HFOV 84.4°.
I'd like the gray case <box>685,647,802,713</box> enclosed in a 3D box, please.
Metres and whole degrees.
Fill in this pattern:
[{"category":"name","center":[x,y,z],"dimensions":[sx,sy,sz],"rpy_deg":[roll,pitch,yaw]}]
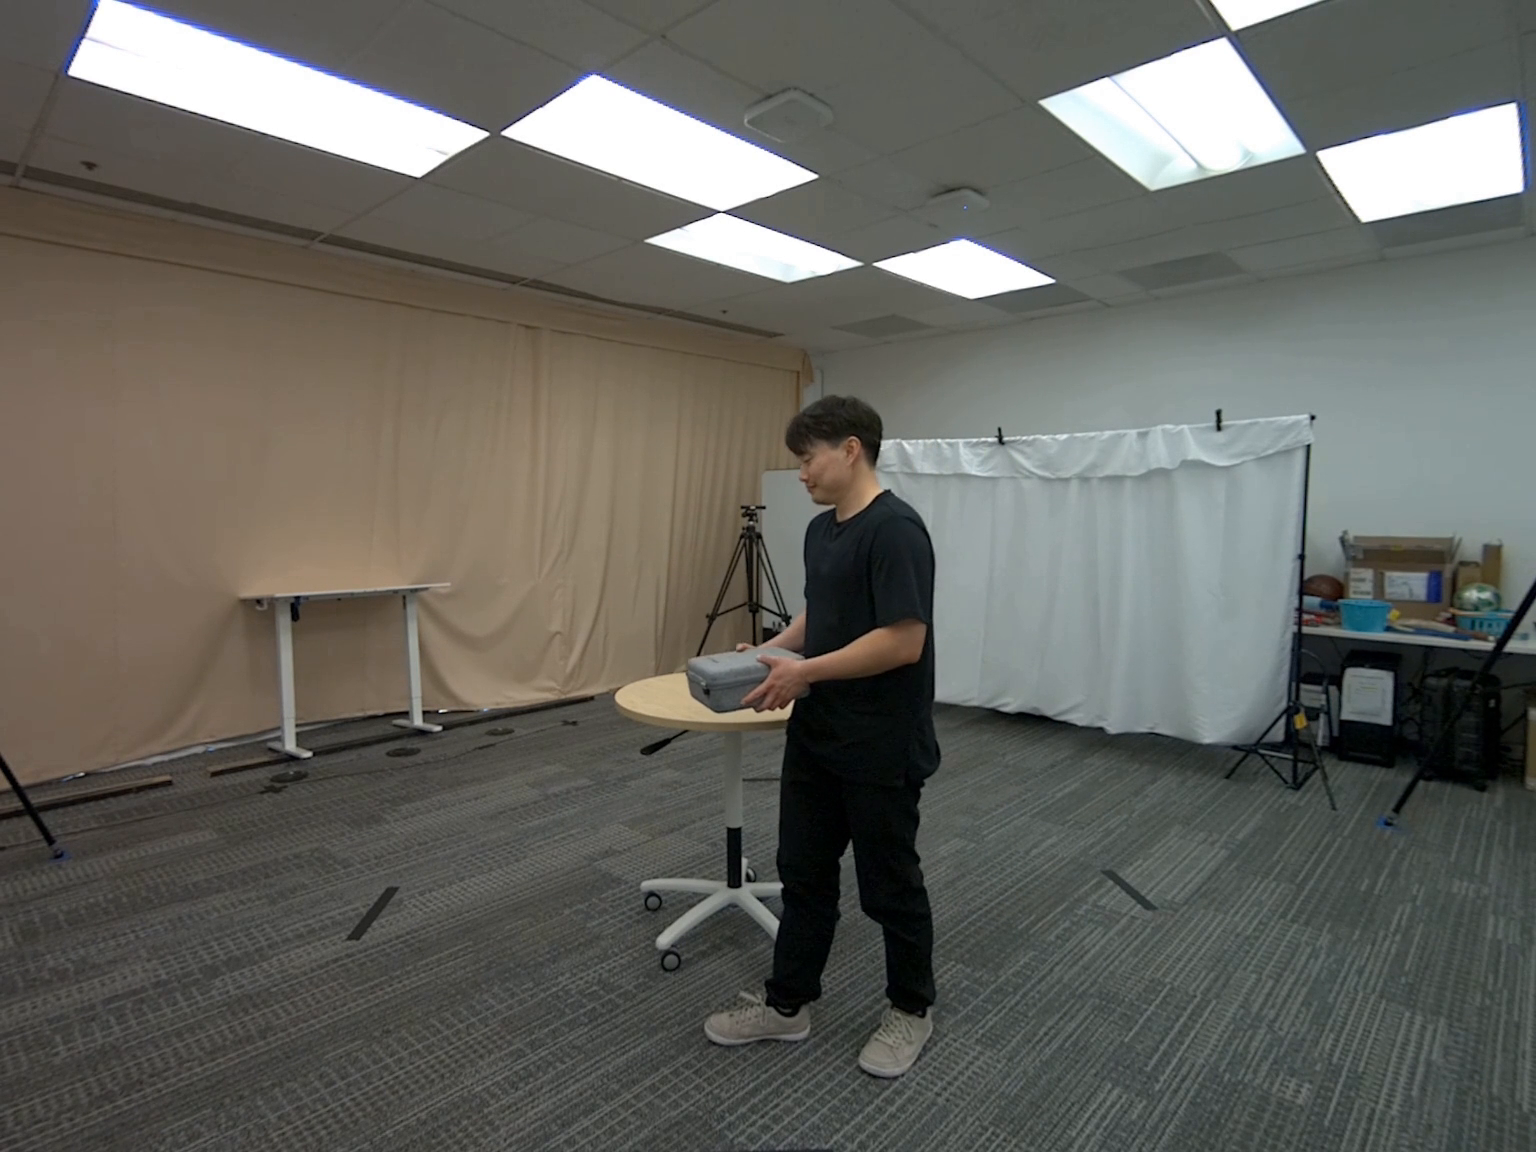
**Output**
[{"category":"gray case","center":[-0.056,0.249,2.065],"dimensions":[0.257,0.104,0.261],"rpy_deg":[-7,4,-15]}]
